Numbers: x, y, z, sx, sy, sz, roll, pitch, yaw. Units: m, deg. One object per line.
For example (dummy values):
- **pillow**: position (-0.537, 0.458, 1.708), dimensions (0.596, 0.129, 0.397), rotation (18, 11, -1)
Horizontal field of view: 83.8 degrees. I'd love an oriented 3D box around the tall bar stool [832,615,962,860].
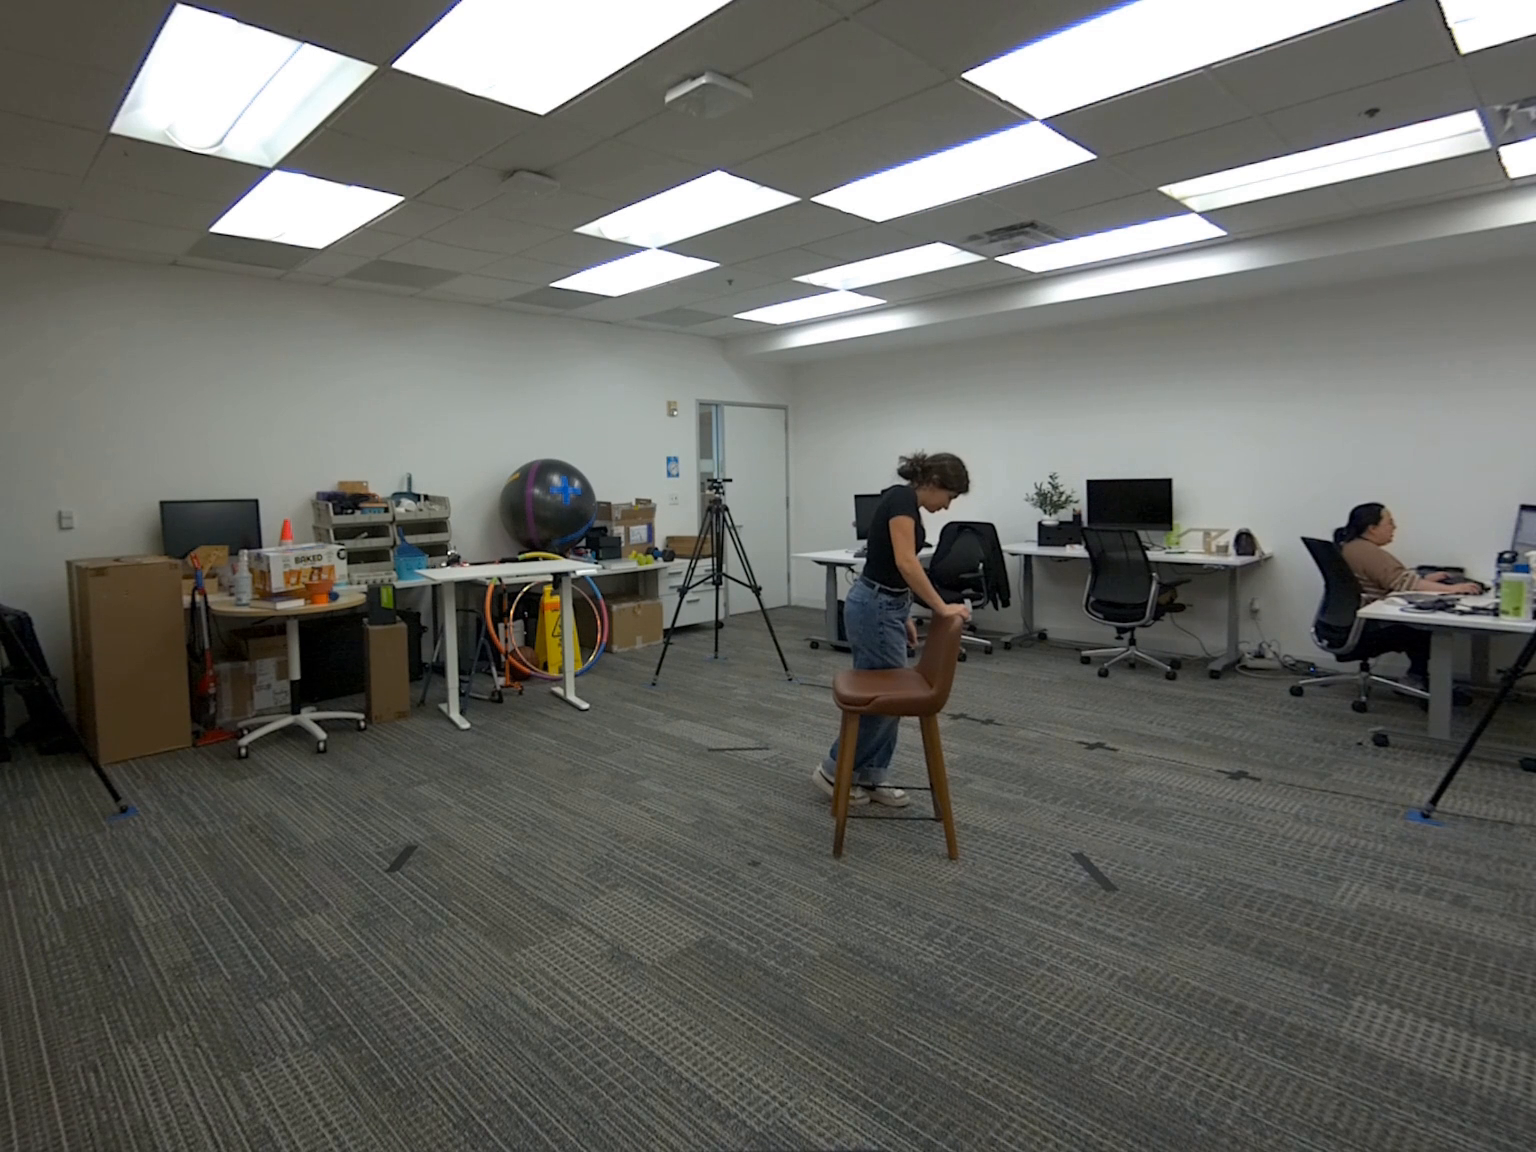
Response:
- **tall bar stool**: position (0.483, 0.580, 3.287), dimensions (0.470, 0.887, 0.455), rotation (2, 4, 5)
